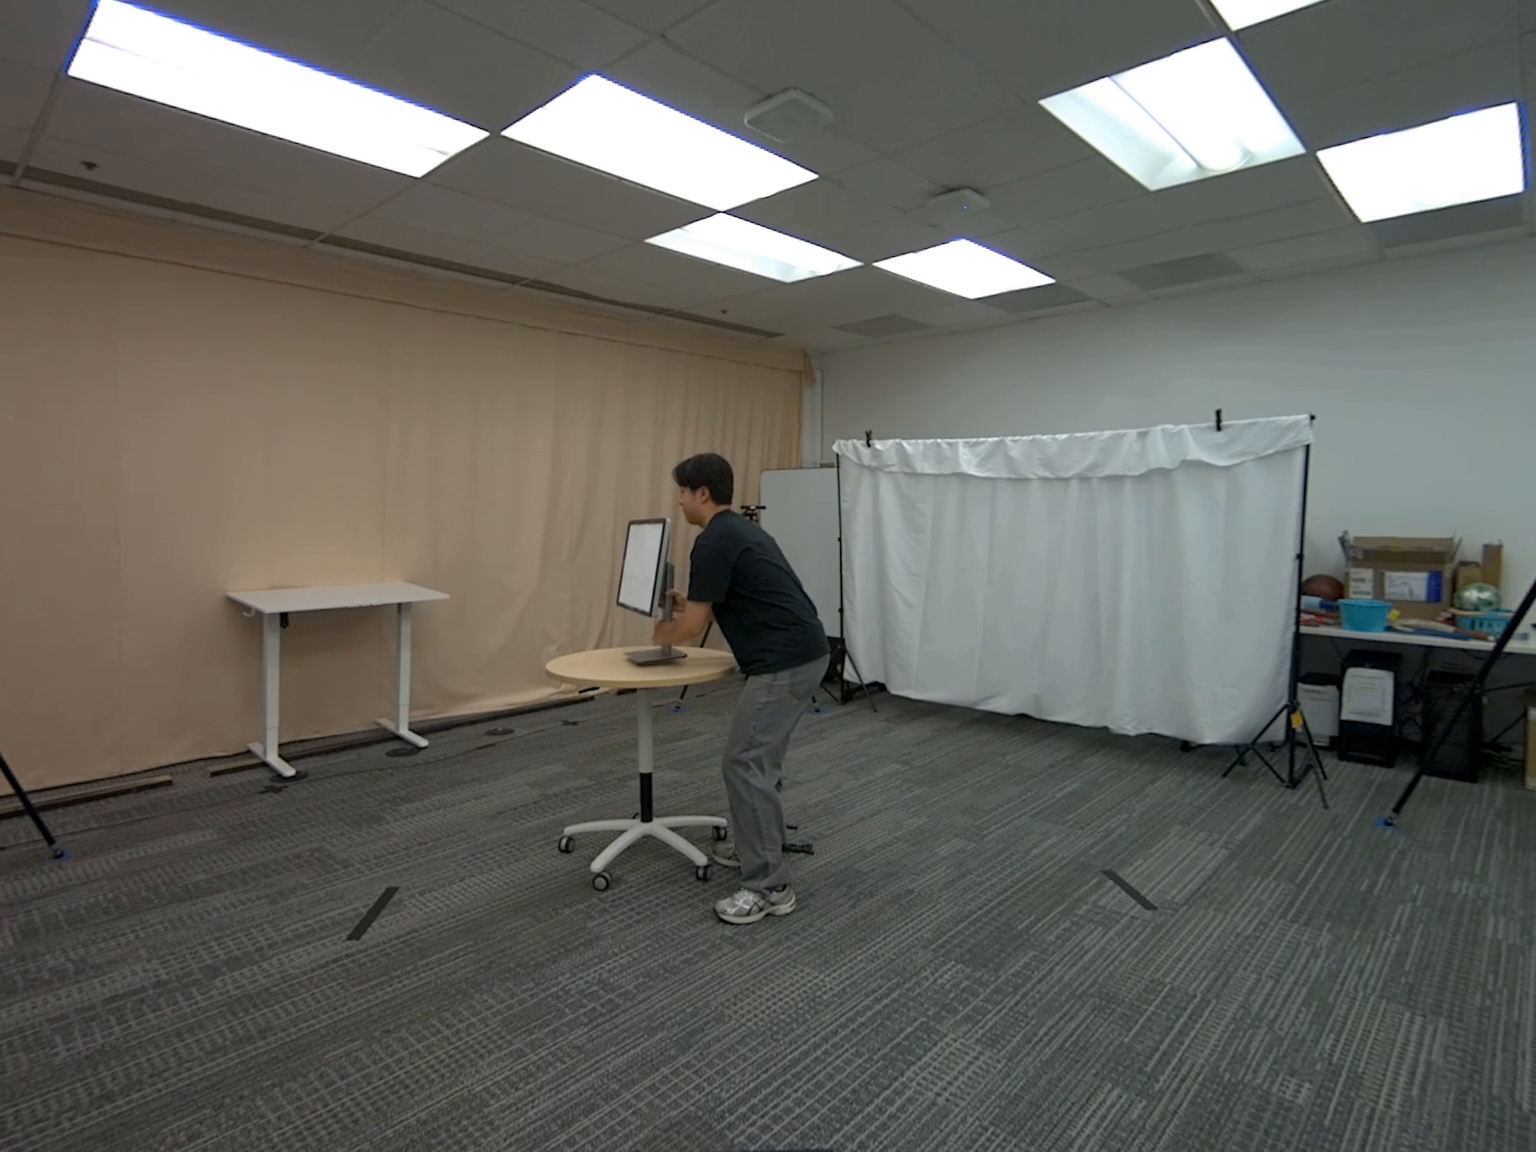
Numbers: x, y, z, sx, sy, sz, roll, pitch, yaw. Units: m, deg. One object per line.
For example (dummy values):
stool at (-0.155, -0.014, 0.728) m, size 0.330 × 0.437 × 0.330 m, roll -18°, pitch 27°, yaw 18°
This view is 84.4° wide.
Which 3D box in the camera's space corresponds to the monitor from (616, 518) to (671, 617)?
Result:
monitor at (-0.461, 0.054, 3.319) m, size 0.218 × 0.565 × 0.573 m, roll -6°, pitch 3°, yaw -19°
